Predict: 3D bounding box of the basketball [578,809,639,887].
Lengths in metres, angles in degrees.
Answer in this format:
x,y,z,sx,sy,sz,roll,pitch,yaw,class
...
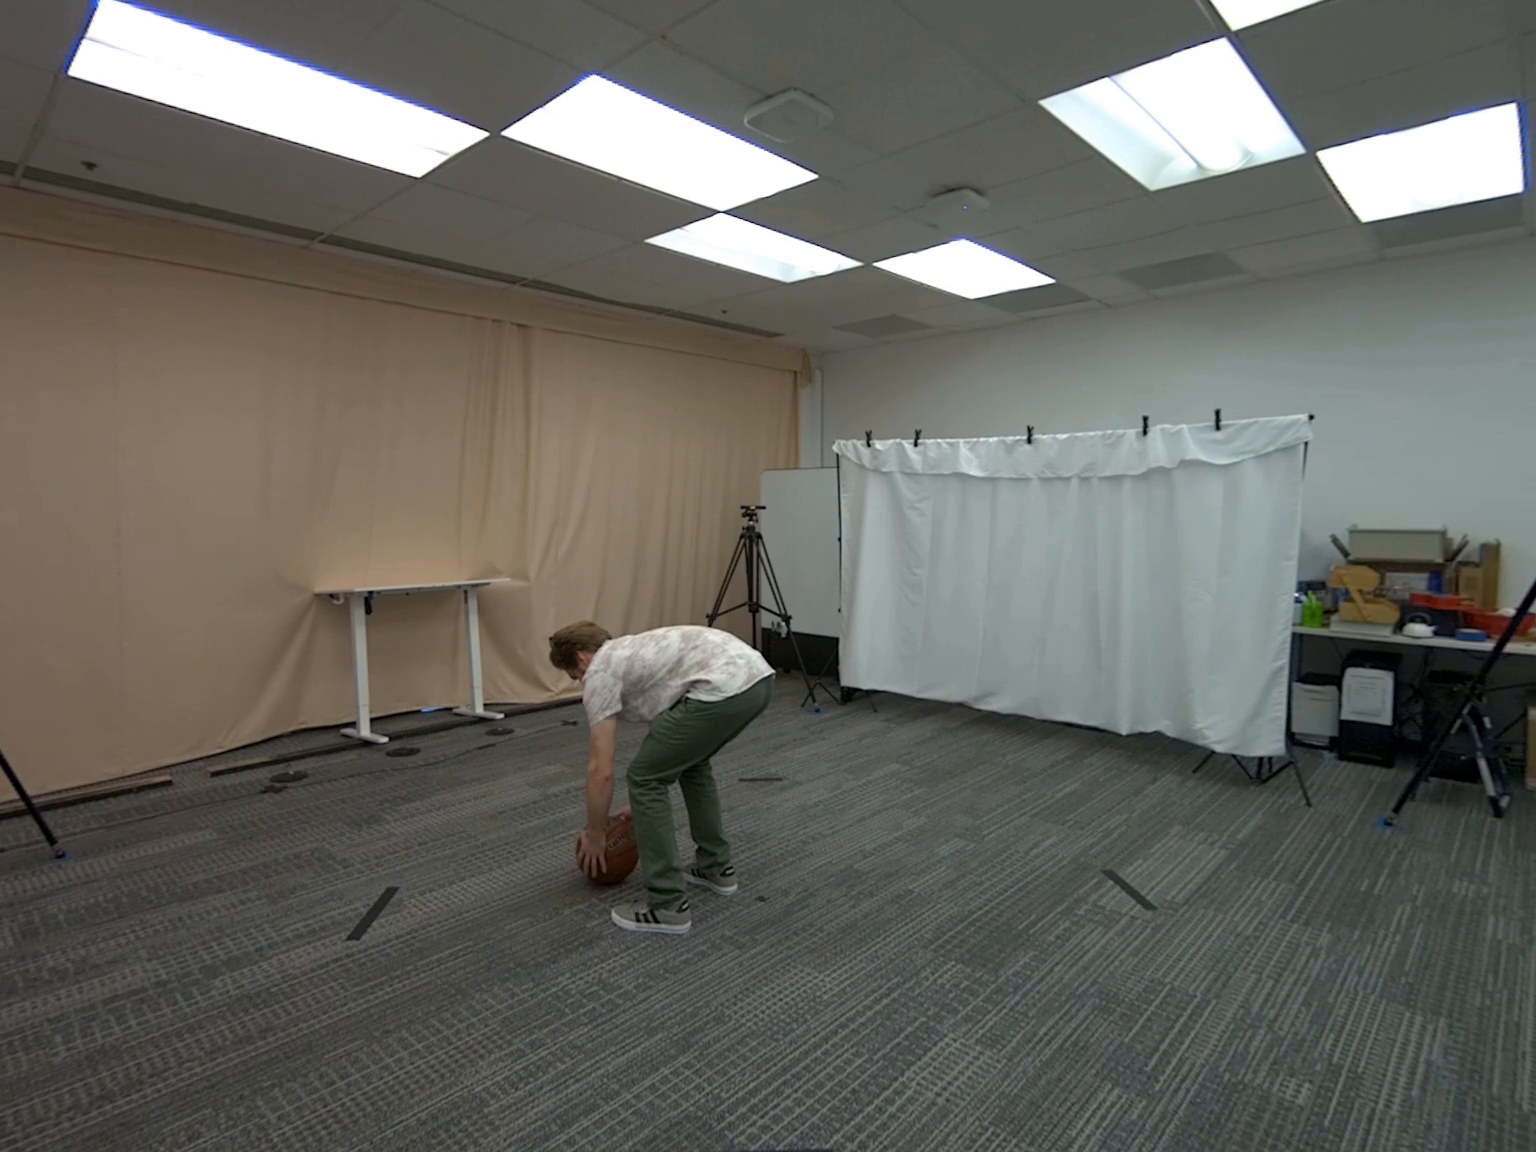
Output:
x,y,z,sx,sy,sz,roll,pitch,yaw,class
-0.594,1.025,3.128,0.236,0.235,0.237,0,4,-2,basketball
